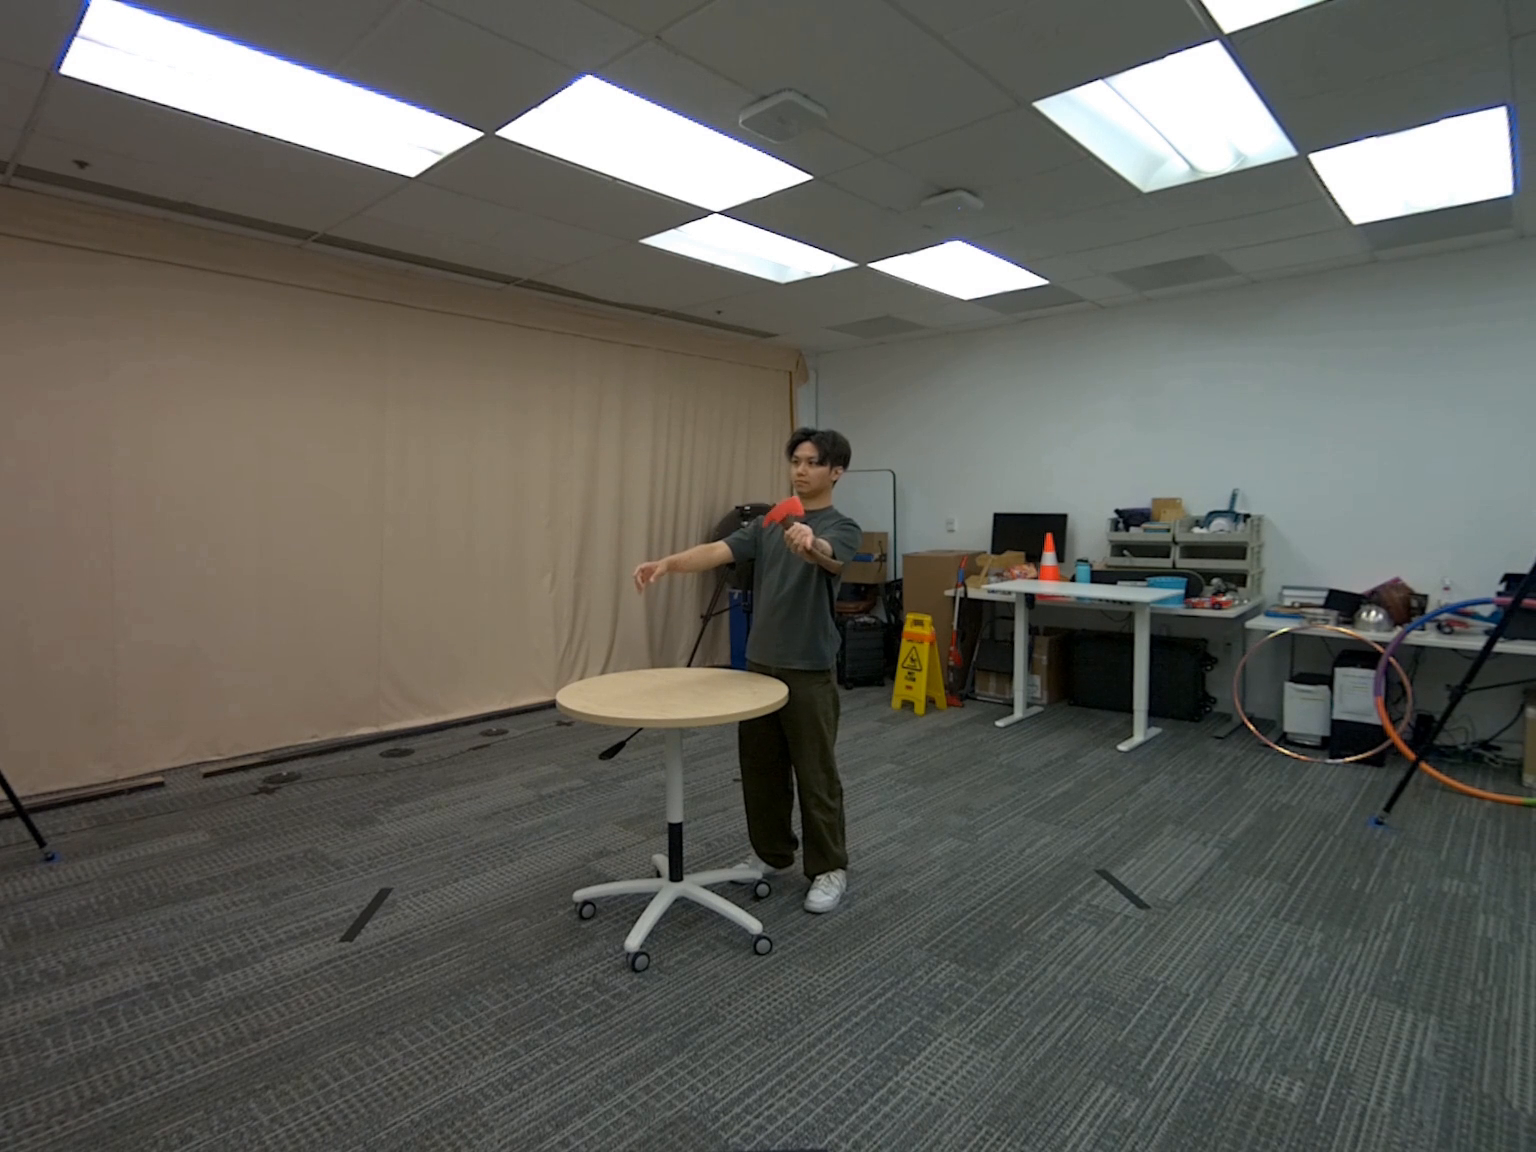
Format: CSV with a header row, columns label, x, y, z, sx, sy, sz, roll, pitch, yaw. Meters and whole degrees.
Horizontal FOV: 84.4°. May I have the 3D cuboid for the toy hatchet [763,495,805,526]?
label,x,y,z,sx,sy,sz,roll,pitch,yaw
toy hatchet,0.121,-0.148,2.402,0.275,0.130,0.029,23,16,14
